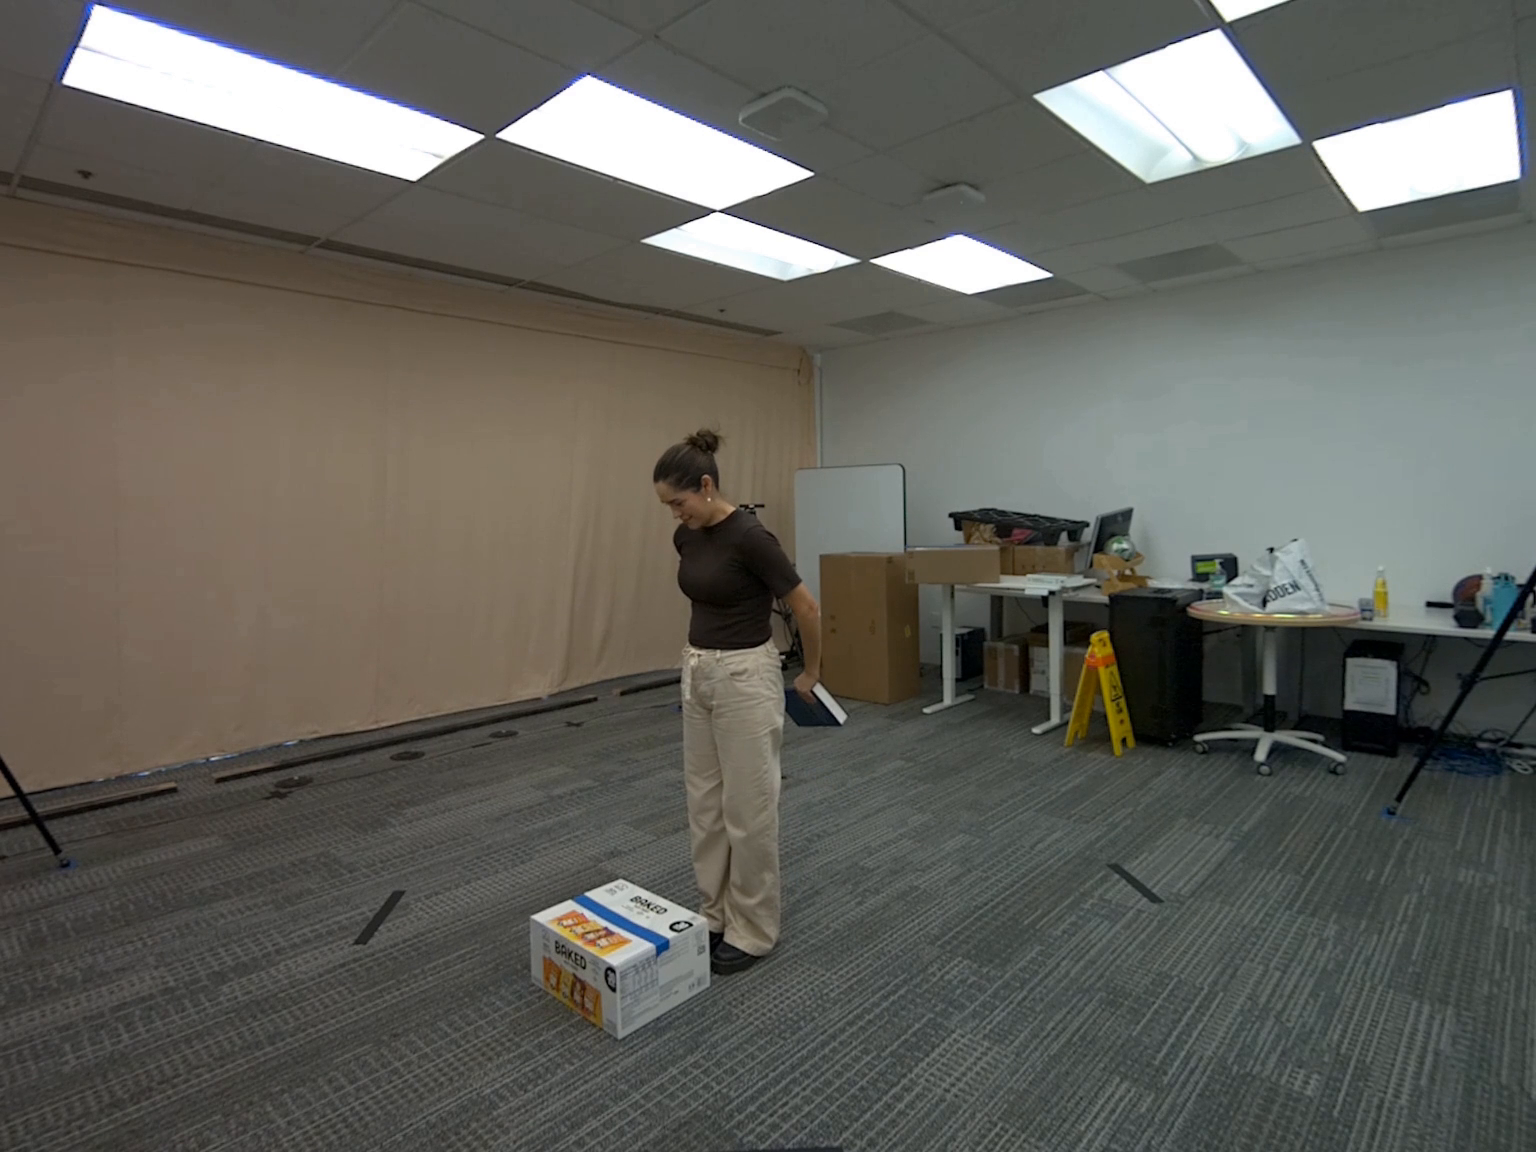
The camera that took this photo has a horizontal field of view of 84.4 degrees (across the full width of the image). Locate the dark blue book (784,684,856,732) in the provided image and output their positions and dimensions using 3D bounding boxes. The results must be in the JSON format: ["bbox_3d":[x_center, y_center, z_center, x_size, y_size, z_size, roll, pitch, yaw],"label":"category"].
[{"bbox_3d":[0.143,0.423,2.723,0.045,0.161,0.251,-48,17,-28],"label":"dark blue book"}]
